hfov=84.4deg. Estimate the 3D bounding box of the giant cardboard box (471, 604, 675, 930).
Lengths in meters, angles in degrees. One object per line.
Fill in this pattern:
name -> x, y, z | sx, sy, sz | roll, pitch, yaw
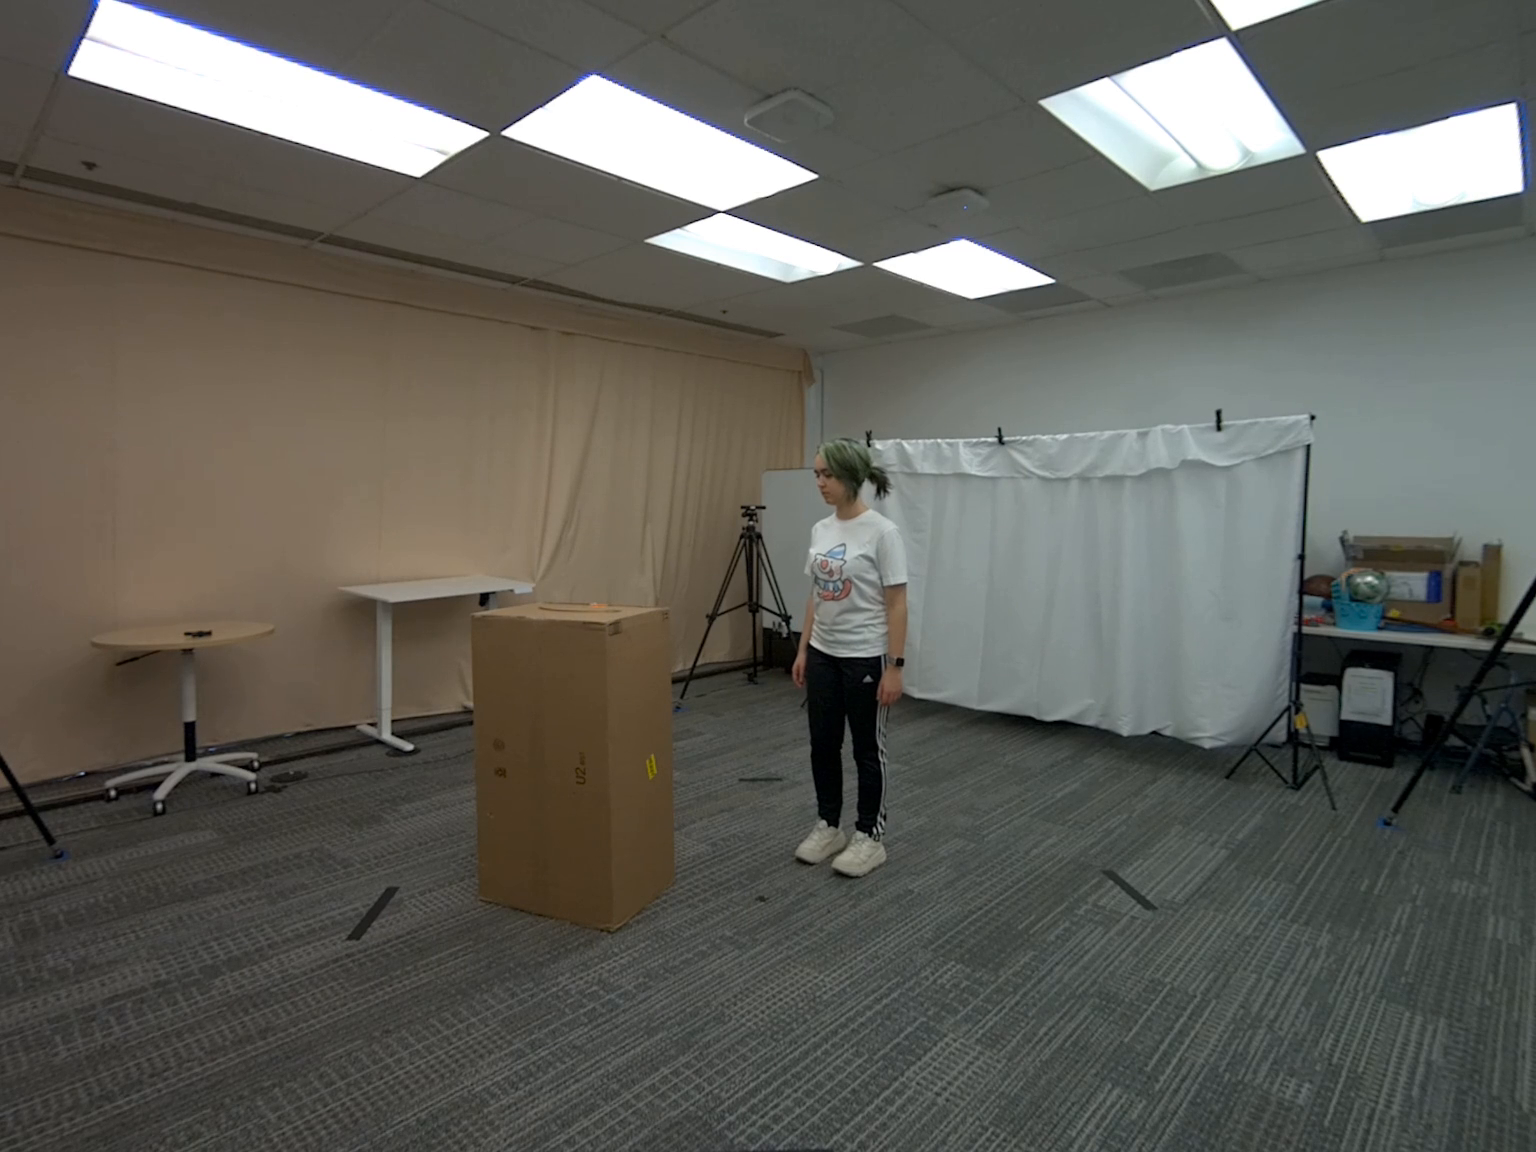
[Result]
giant cardboard box -> -0.693, 0.638, 3.037 | 0.592, 1.024, 0.416 | 0, 3, 25
